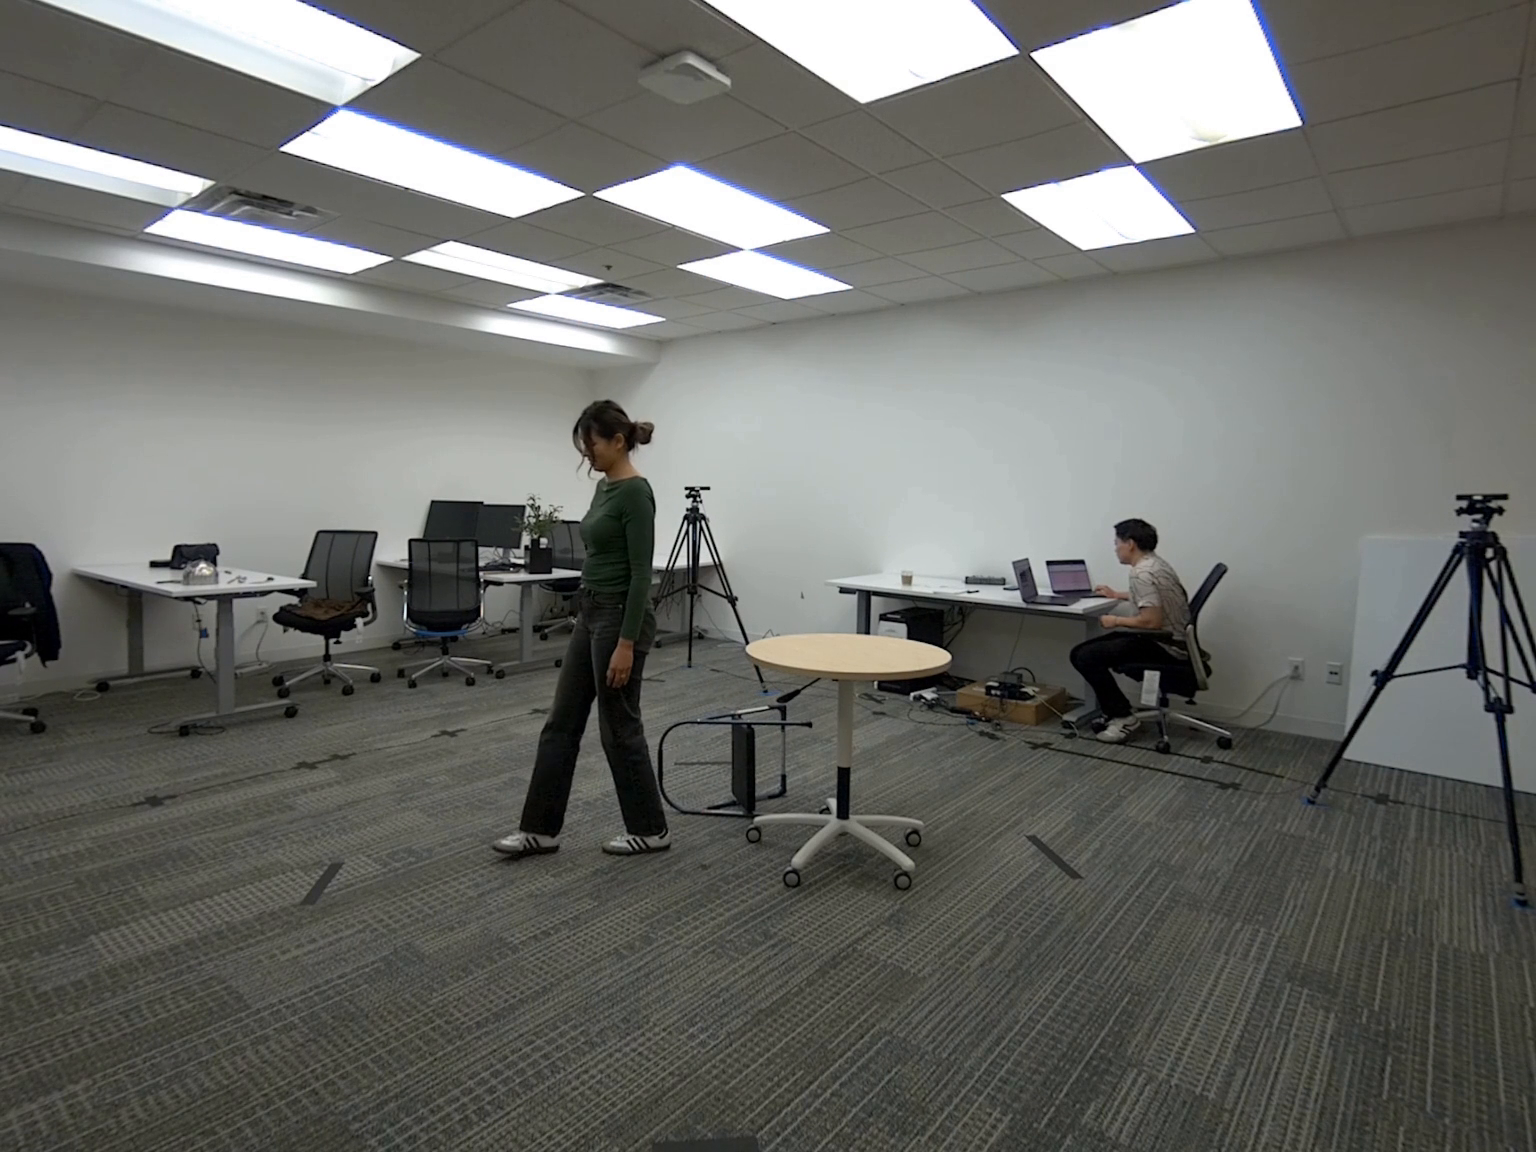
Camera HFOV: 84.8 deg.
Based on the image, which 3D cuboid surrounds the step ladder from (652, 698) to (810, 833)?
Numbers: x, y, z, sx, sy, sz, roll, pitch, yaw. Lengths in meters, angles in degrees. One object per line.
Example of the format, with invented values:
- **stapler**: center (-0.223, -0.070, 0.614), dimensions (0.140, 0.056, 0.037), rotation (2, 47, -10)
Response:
- **step ladder**: center (-0.170, 0.797, 3.631), dimensions (0.597, 0.430, 0.355), rotation (-1, 3, -15)
